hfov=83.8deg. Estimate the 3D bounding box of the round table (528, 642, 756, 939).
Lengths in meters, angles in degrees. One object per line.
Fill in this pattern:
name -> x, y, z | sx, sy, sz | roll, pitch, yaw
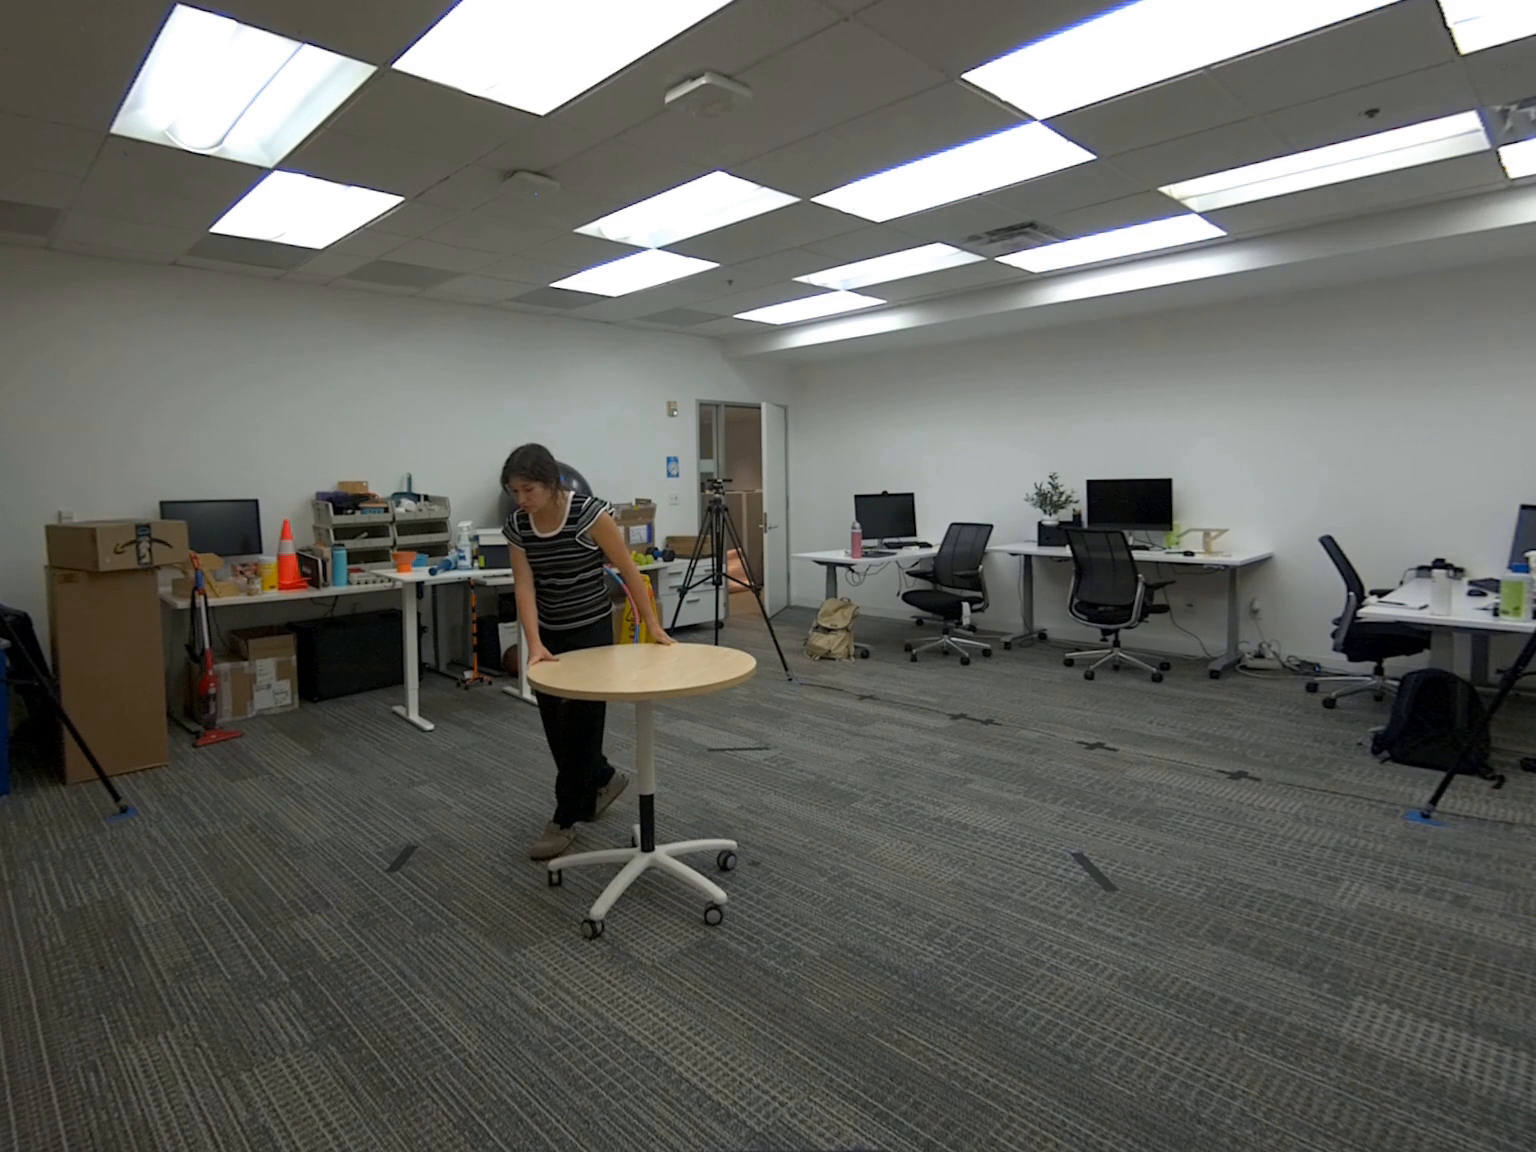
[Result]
round table -> -0.408, 0.688, 2.896 | 0.763, 0.791, 0.768 | -2, 5, -2
